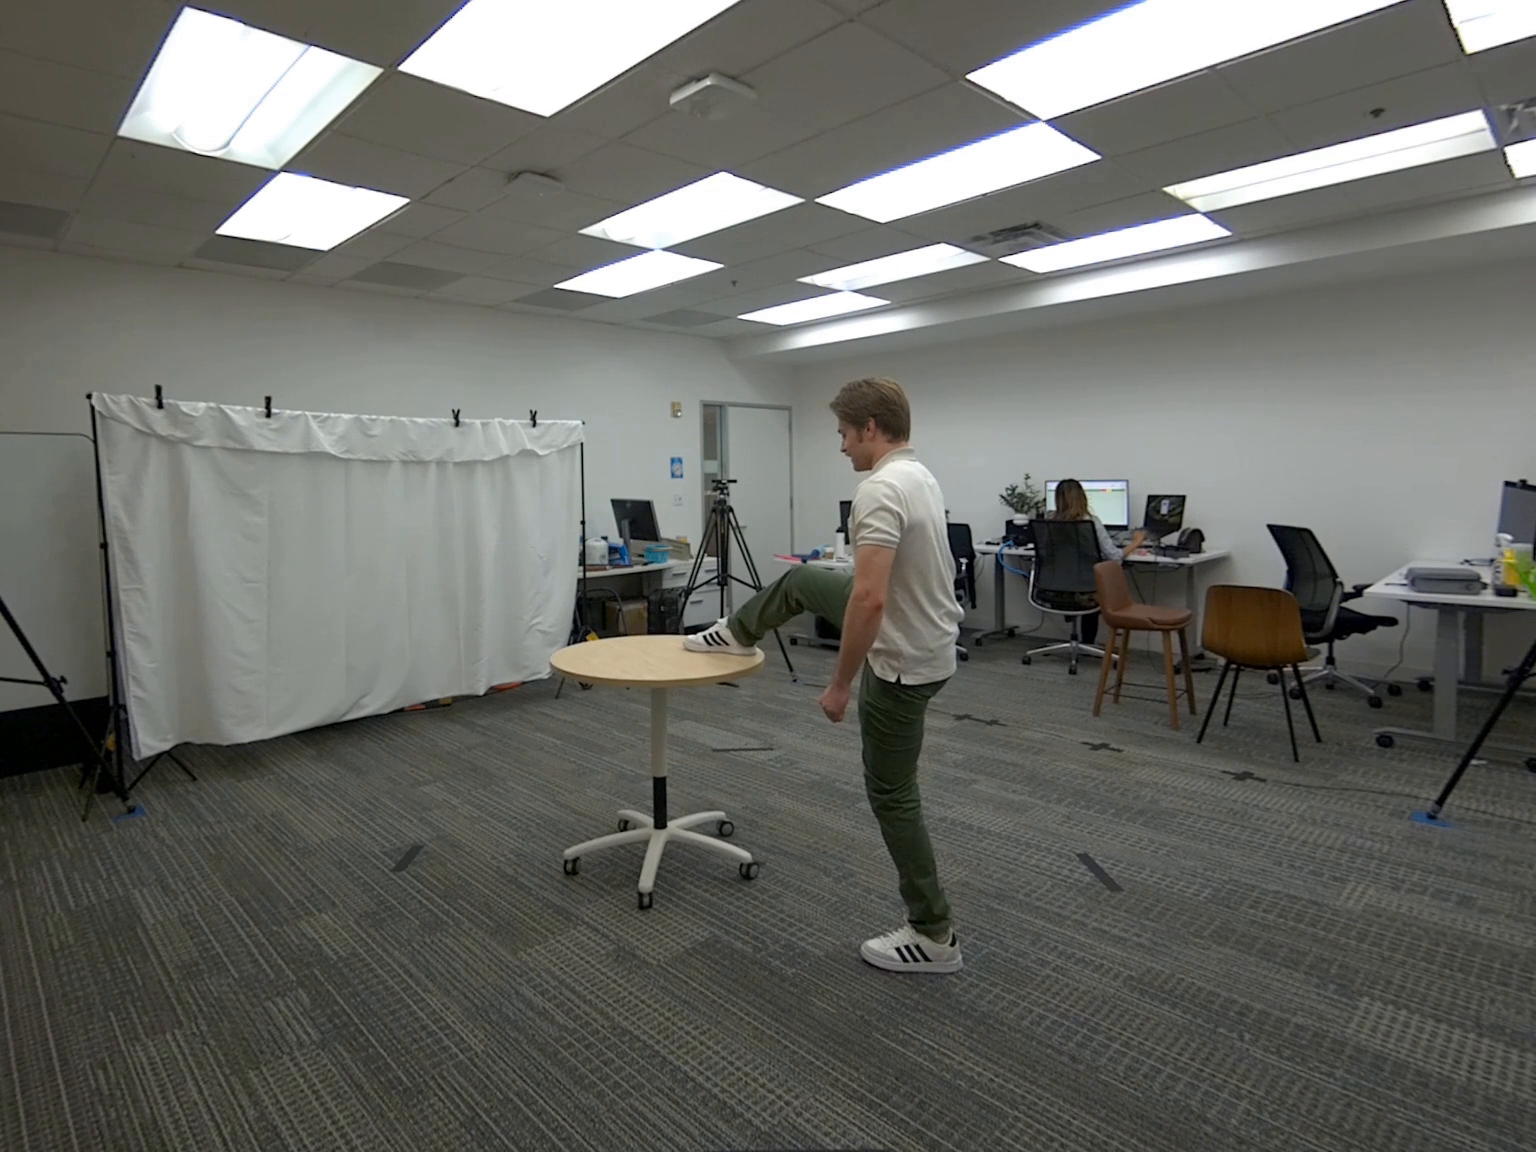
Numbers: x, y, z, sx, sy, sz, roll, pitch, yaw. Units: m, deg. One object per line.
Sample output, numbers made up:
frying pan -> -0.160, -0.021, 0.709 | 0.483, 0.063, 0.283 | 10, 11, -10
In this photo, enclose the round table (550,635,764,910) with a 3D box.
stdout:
round table -> -0.391, 0.671, 3.099 | 0.763, 0.791, 0.768 | -1, 5, -2
